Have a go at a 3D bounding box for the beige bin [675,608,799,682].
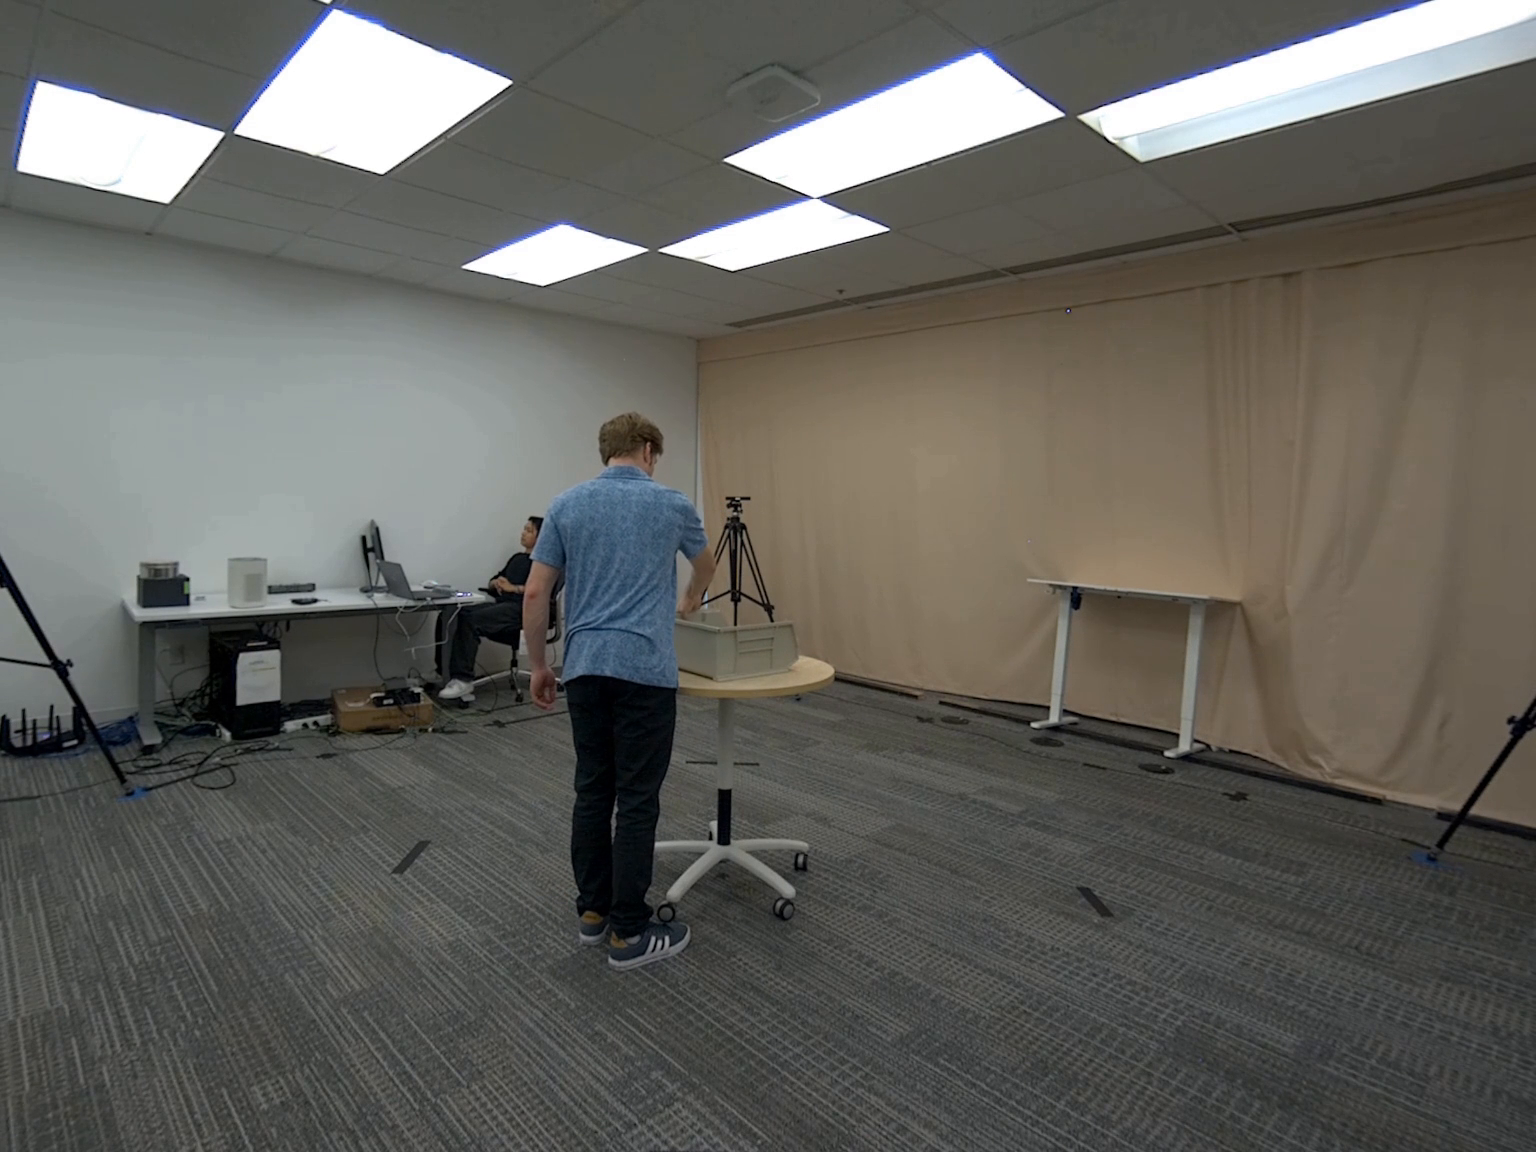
[{"bbox_3d":[-0.170,0.236,3.014,0.369,0.188,0.433,-4,7,-39],"label":"beige bin"}]
